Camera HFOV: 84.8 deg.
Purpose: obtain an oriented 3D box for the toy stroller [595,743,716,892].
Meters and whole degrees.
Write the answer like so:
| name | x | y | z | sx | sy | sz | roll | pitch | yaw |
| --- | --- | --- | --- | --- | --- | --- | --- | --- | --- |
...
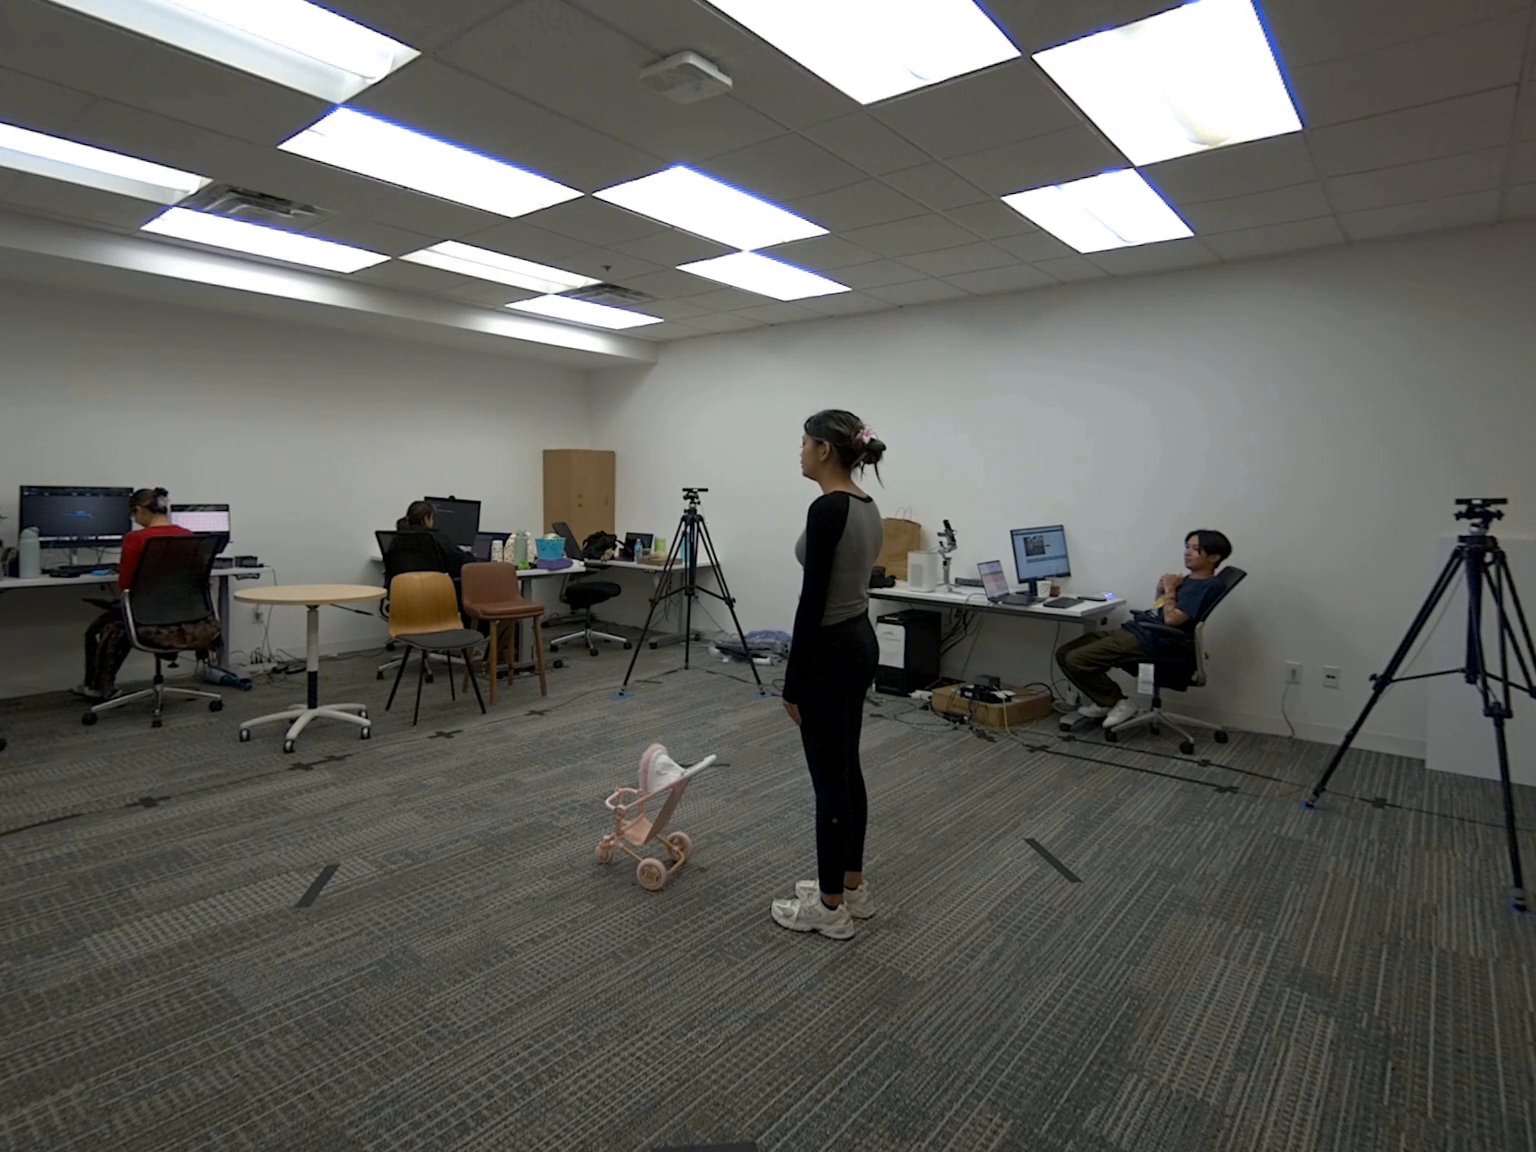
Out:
| name | x | y | z | sx | sy | sz | roll | pitch | yaw |
| --- | --- | --- | --- | --- | --- | --- | --- | --- | --- |
| toy stroller | -0.434 | 0.844 | 3.073 | 0.351 | 0.532 | 0.275 | 19 | 9 | 21 |
